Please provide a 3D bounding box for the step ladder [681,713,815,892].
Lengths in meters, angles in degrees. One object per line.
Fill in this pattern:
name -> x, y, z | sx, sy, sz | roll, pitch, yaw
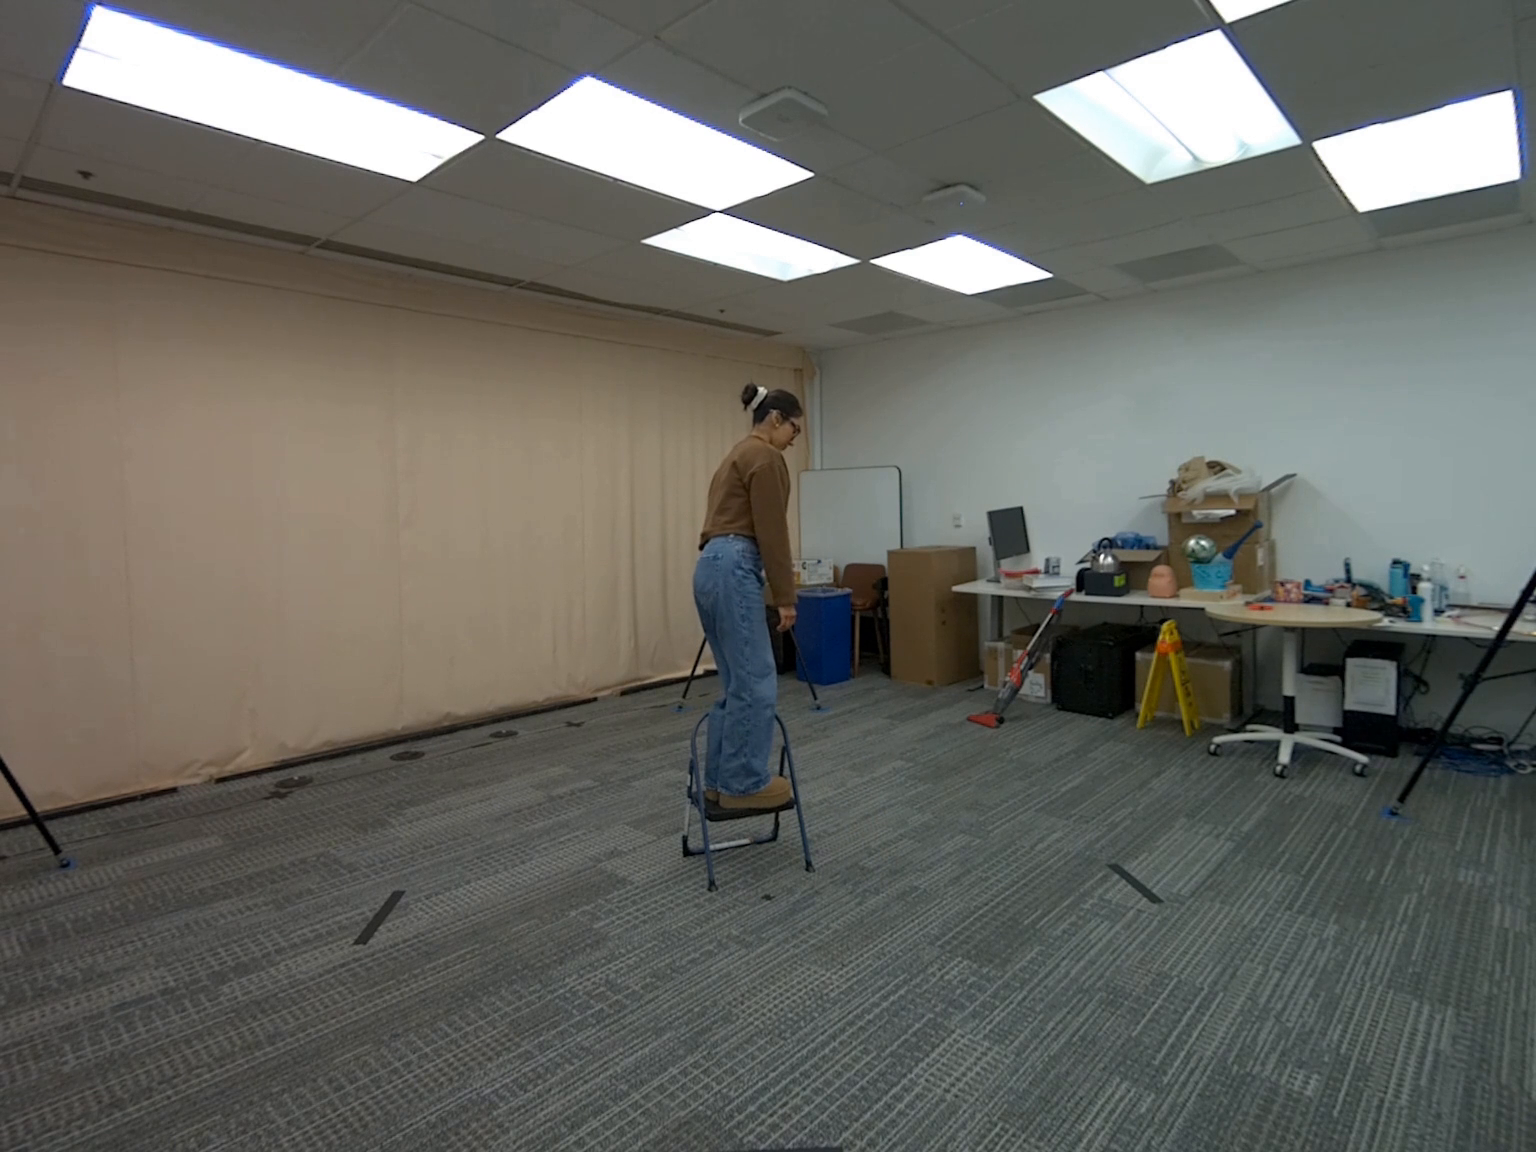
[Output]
step ladder -> -0.088, 0.818, 3.259 | 0.421, 0.605, 0.358 | -3, 4, -24
